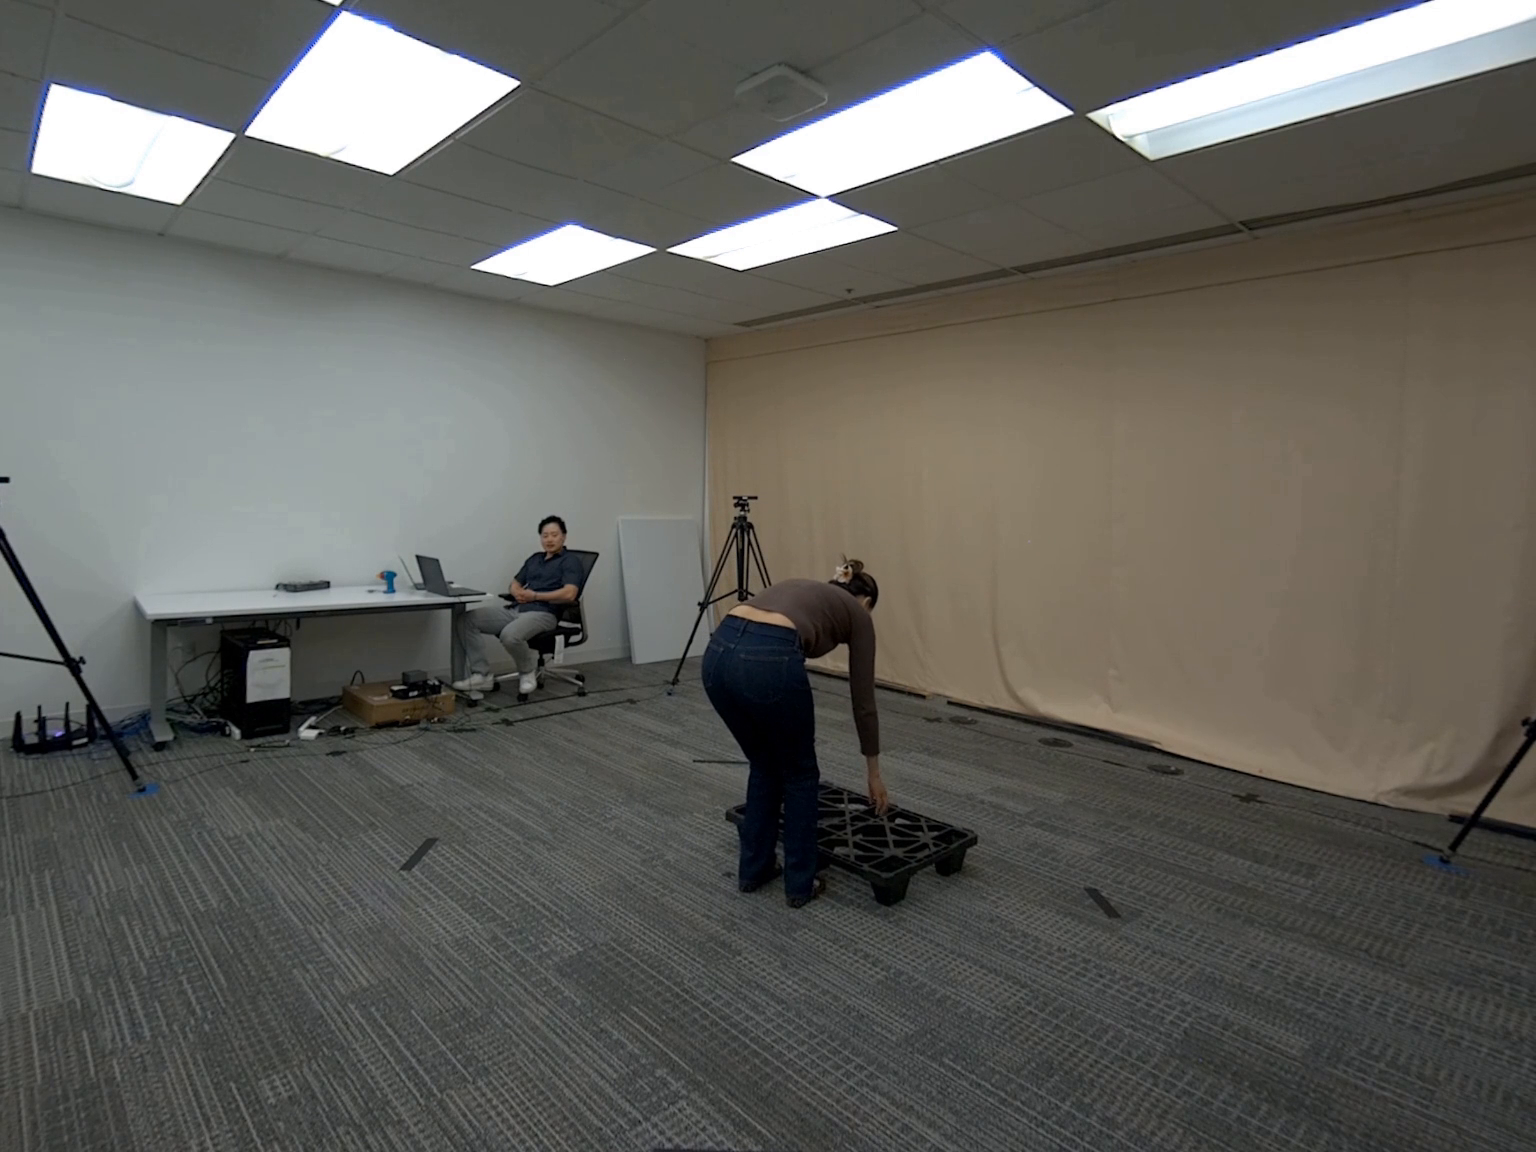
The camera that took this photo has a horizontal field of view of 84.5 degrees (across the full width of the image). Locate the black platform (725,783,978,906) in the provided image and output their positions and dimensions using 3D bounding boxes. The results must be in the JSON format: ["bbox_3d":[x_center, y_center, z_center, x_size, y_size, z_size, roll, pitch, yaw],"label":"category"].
[{"bbox_3d":[0.305,1.029,3.292,0.591,0.143,0.826,-4,7,-45],"label":"black platform"}]
